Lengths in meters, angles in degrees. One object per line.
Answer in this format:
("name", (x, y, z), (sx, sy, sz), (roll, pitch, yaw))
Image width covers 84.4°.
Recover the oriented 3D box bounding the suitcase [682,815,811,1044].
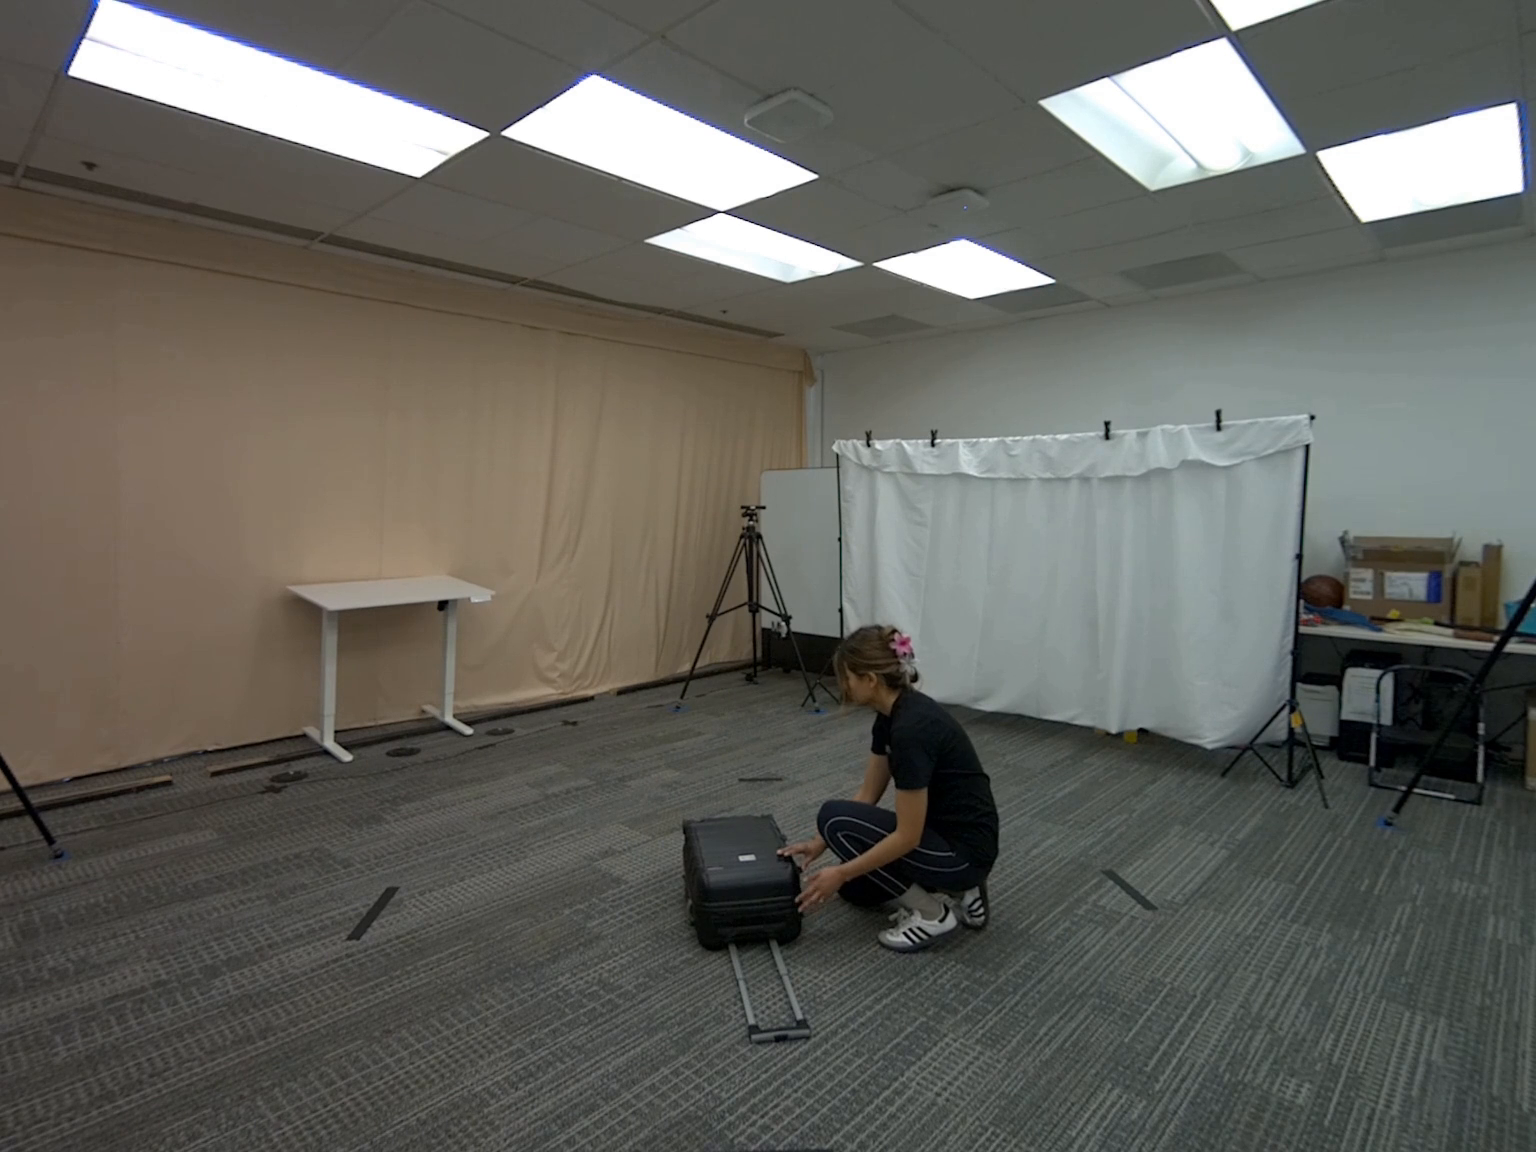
("suitcase", (-0.056, 1.041, 2.667), (0.380, 0.256, 0.989), (-2, 4, -10))
